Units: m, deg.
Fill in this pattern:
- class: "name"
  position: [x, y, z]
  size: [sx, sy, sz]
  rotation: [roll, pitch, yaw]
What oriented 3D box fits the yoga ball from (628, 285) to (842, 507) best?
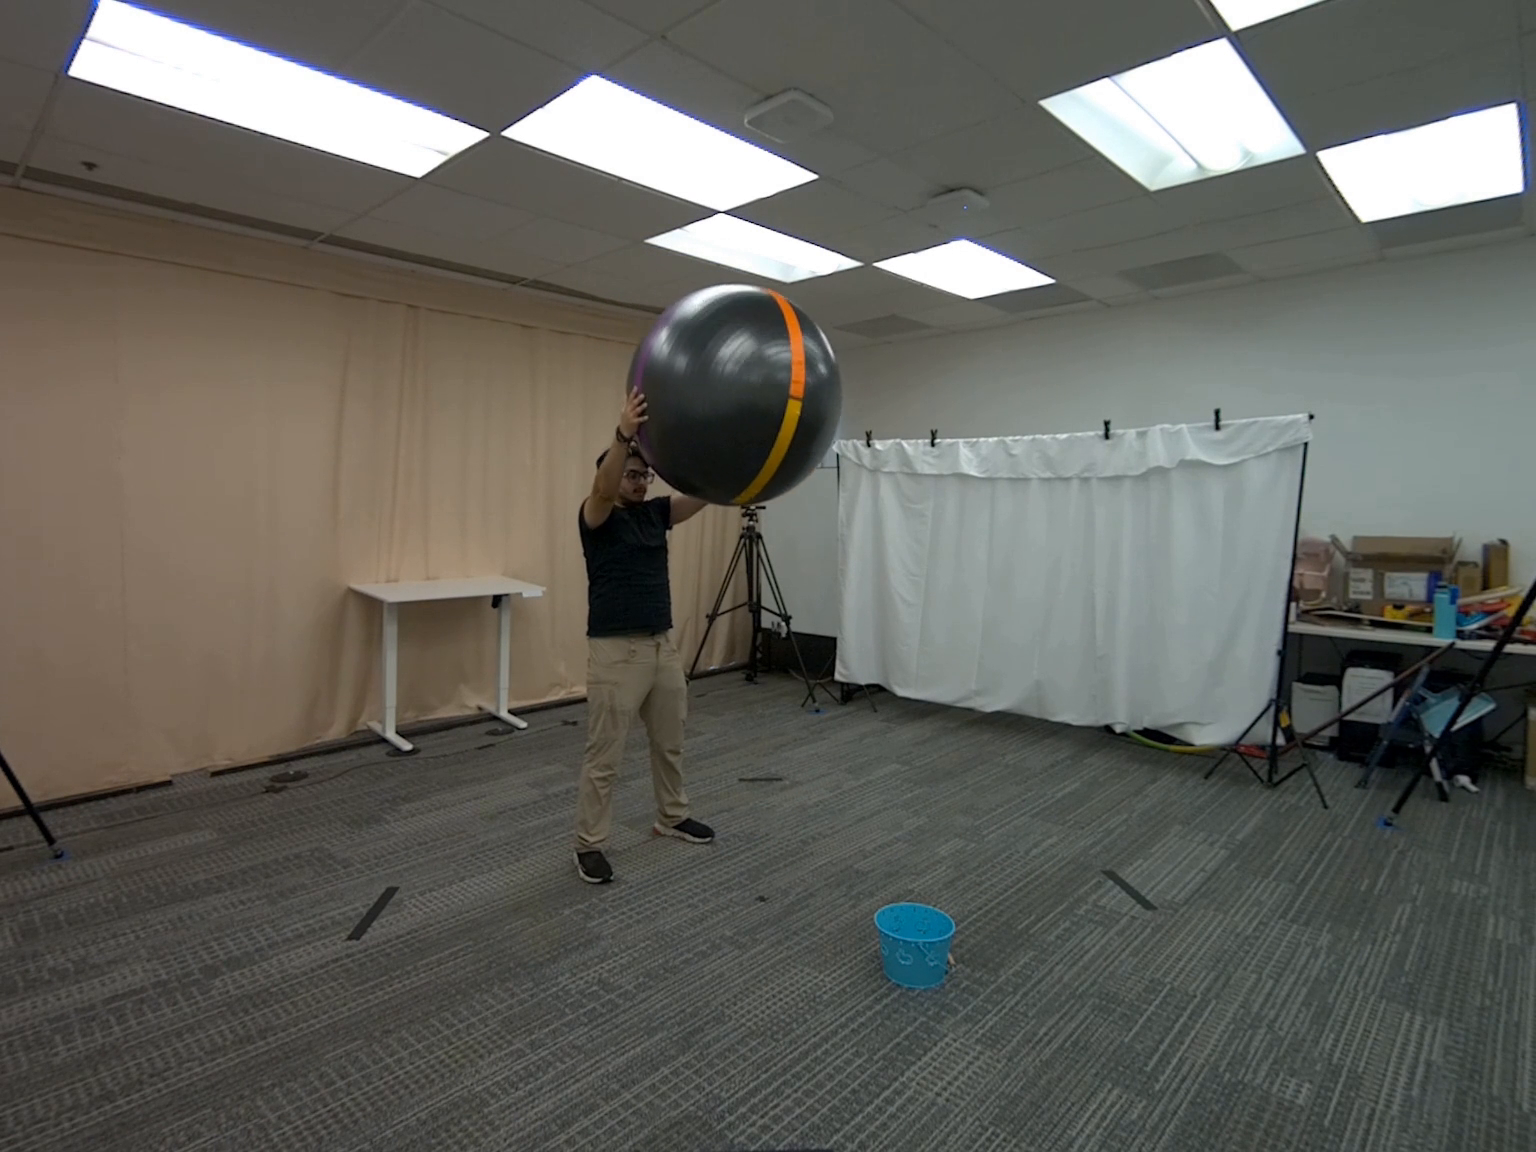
- class: "yoga ball"
  position: [-0.121, -0.603, 2.951]
  size: [0.757, 0.756, 0.761]
  rotation: [0, 4, -2]
